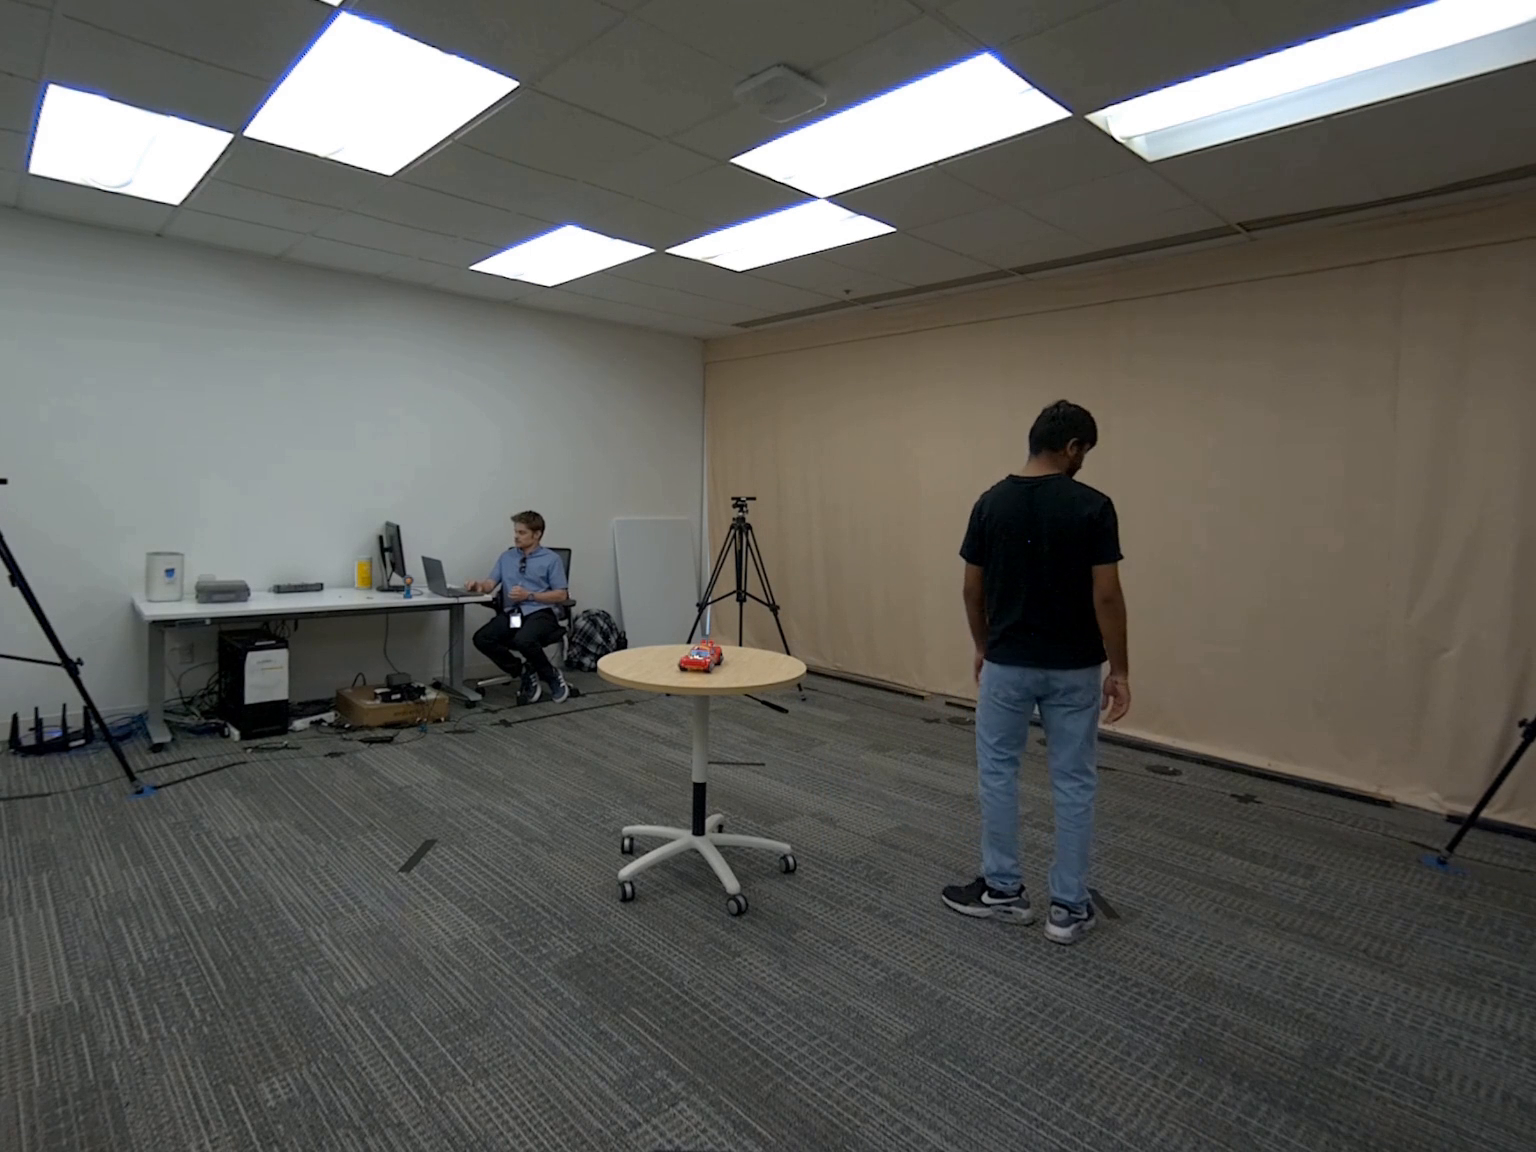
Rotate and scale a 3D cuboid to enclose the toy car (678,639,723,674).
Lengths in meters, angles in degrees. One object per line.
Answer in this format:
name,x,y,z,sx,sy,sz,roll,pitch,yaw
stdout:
toy car,-0.235,0.294,3.042,0.131,0.082,0.255,2,16,10
